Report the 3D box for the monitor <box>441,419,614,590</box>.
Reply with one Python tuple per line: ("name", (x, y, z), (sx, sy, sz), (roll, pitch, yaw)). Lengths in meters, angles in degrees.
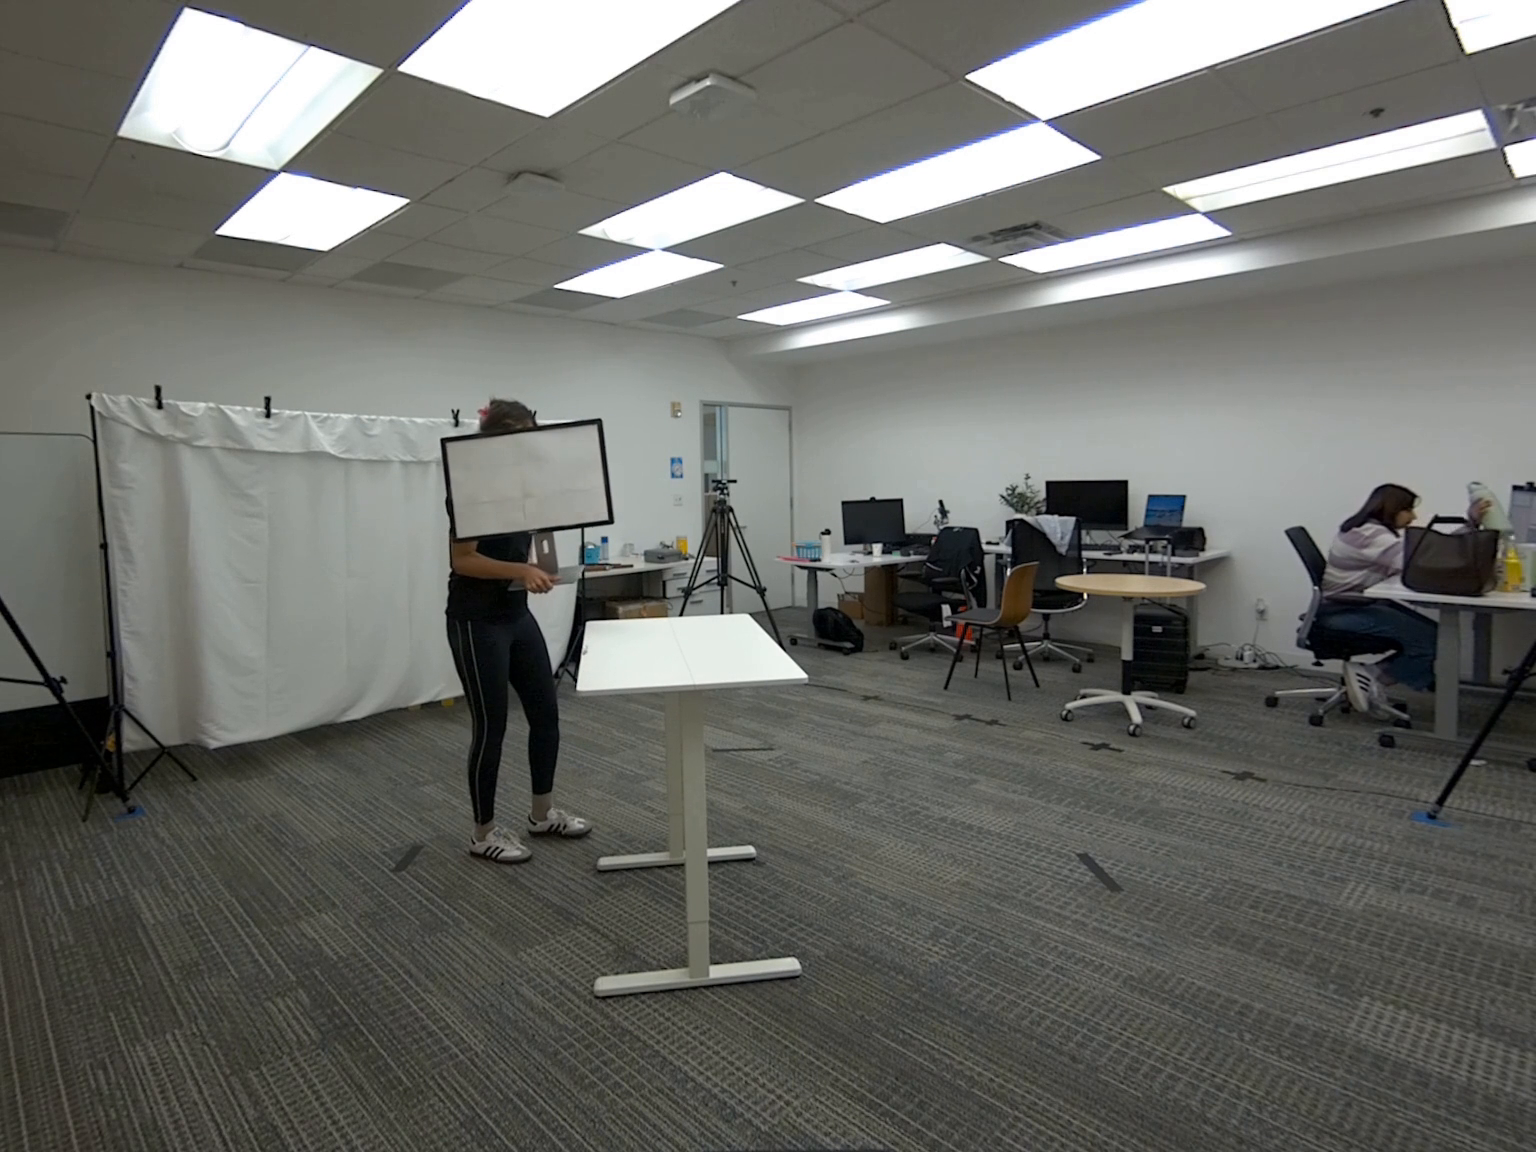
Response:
("monitor", (-0.811, -0.243, 2.974), (0.538, 0.516, 0.189), (-7, 12, -1))
